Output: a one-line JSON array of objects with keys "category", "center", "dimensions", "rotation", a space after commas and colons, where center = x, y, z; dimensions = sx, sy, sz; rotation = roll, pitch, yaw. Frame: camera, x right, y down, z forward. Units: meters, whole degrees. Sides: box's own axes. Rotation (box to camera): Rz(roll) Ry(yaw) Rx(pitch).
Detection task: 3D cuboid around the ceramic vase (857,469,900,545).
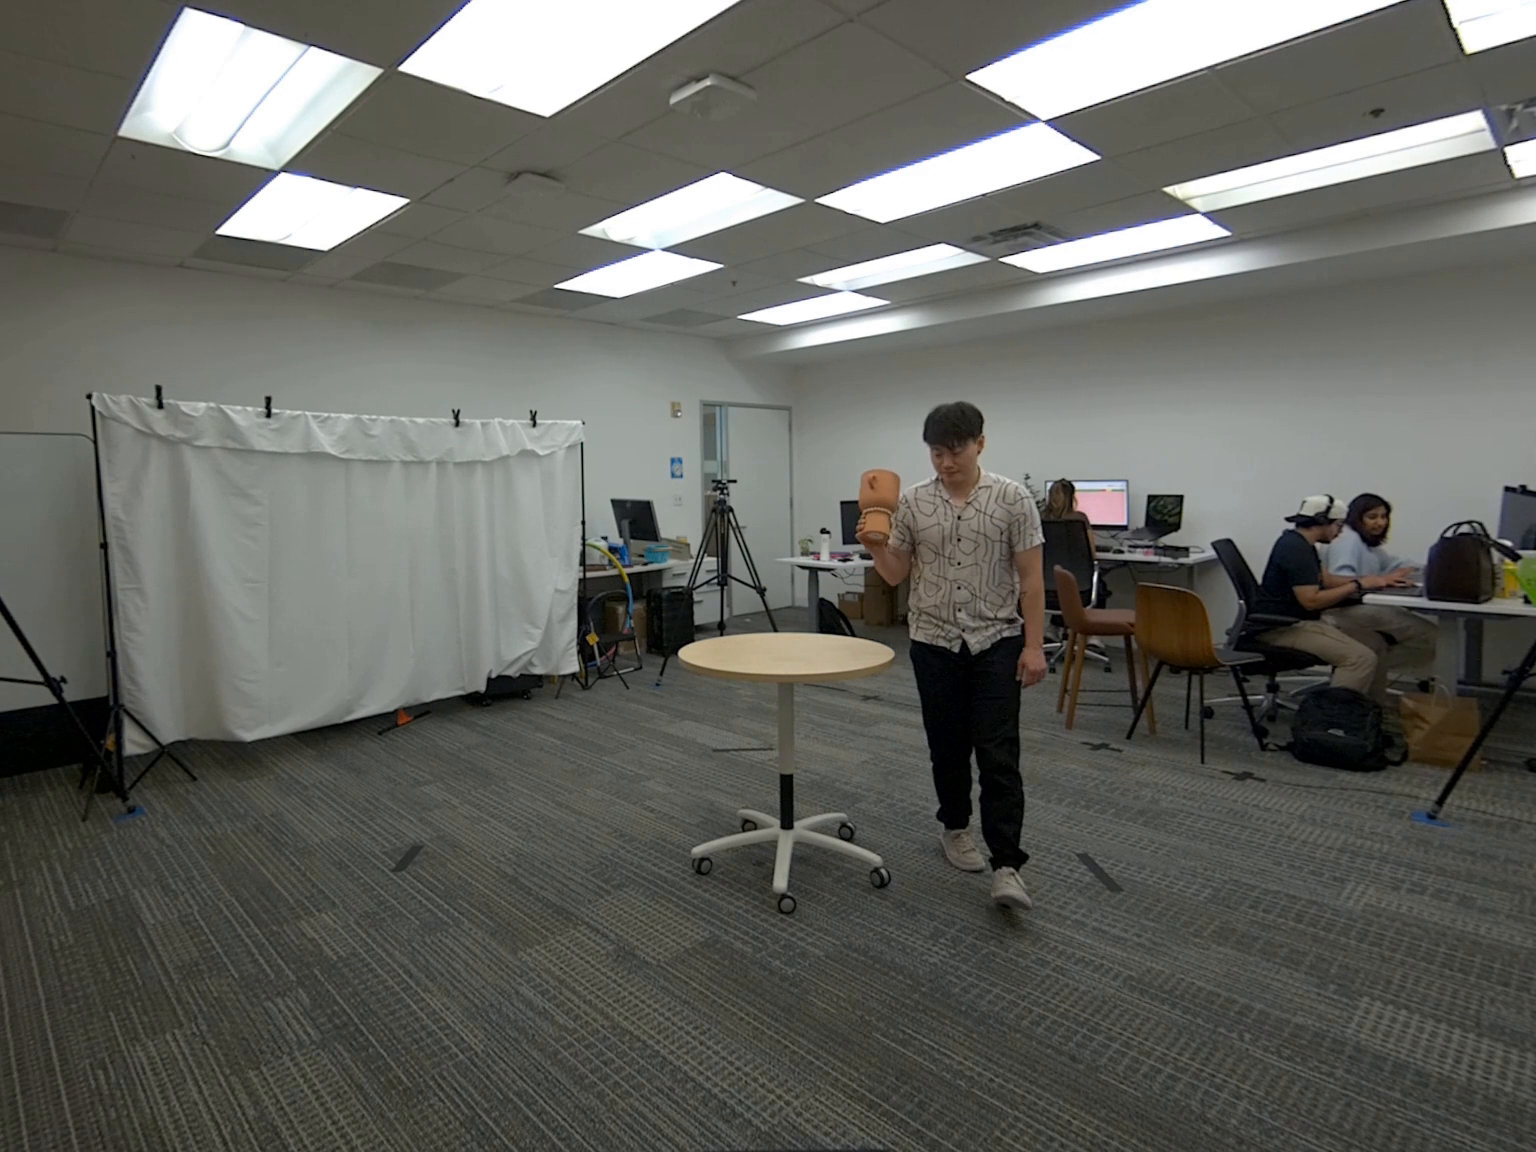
[{"category": "ceramic vase", "center": [0.383, -0.236, 2.860], "dimensions": [0.155, 0.223, 0.135], "rotation": [16, -22, -20]}]
